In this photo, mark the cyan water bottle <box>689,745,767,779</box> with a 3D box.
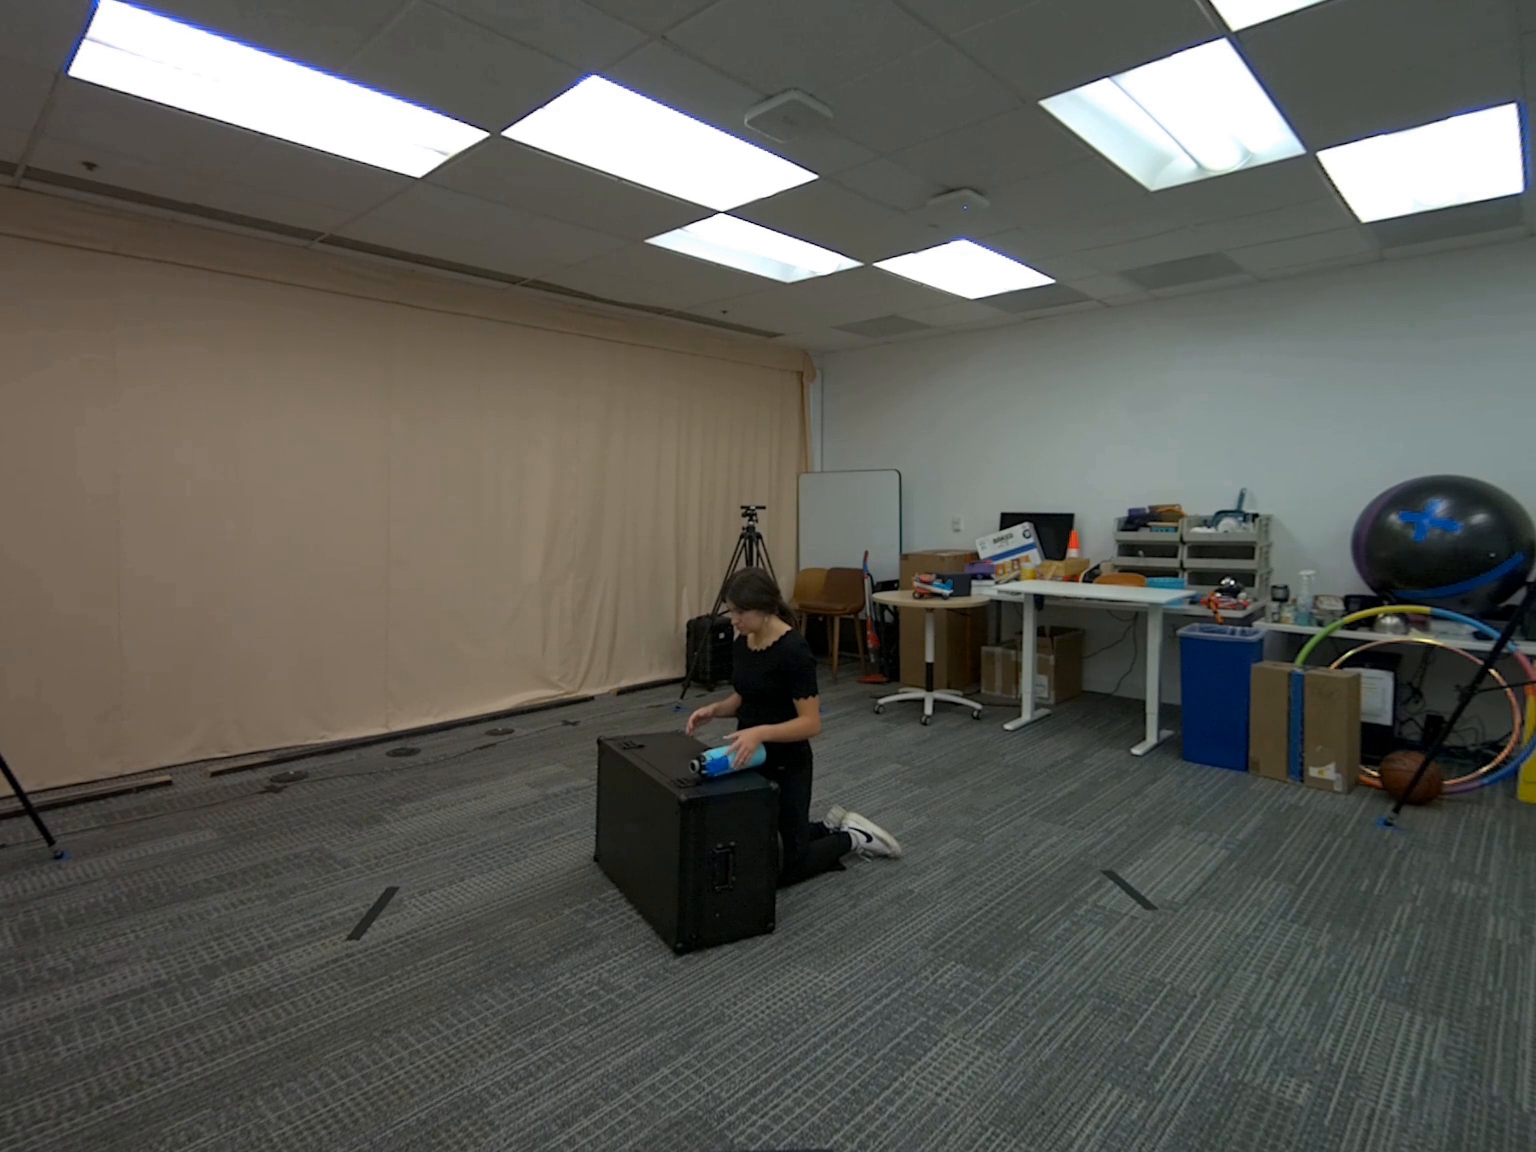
[{"bbox_3d":[-0.141,0.620,2.873,0.274,0.092,0.095,0,2,-41],"label":"cyan water bottle"}]
